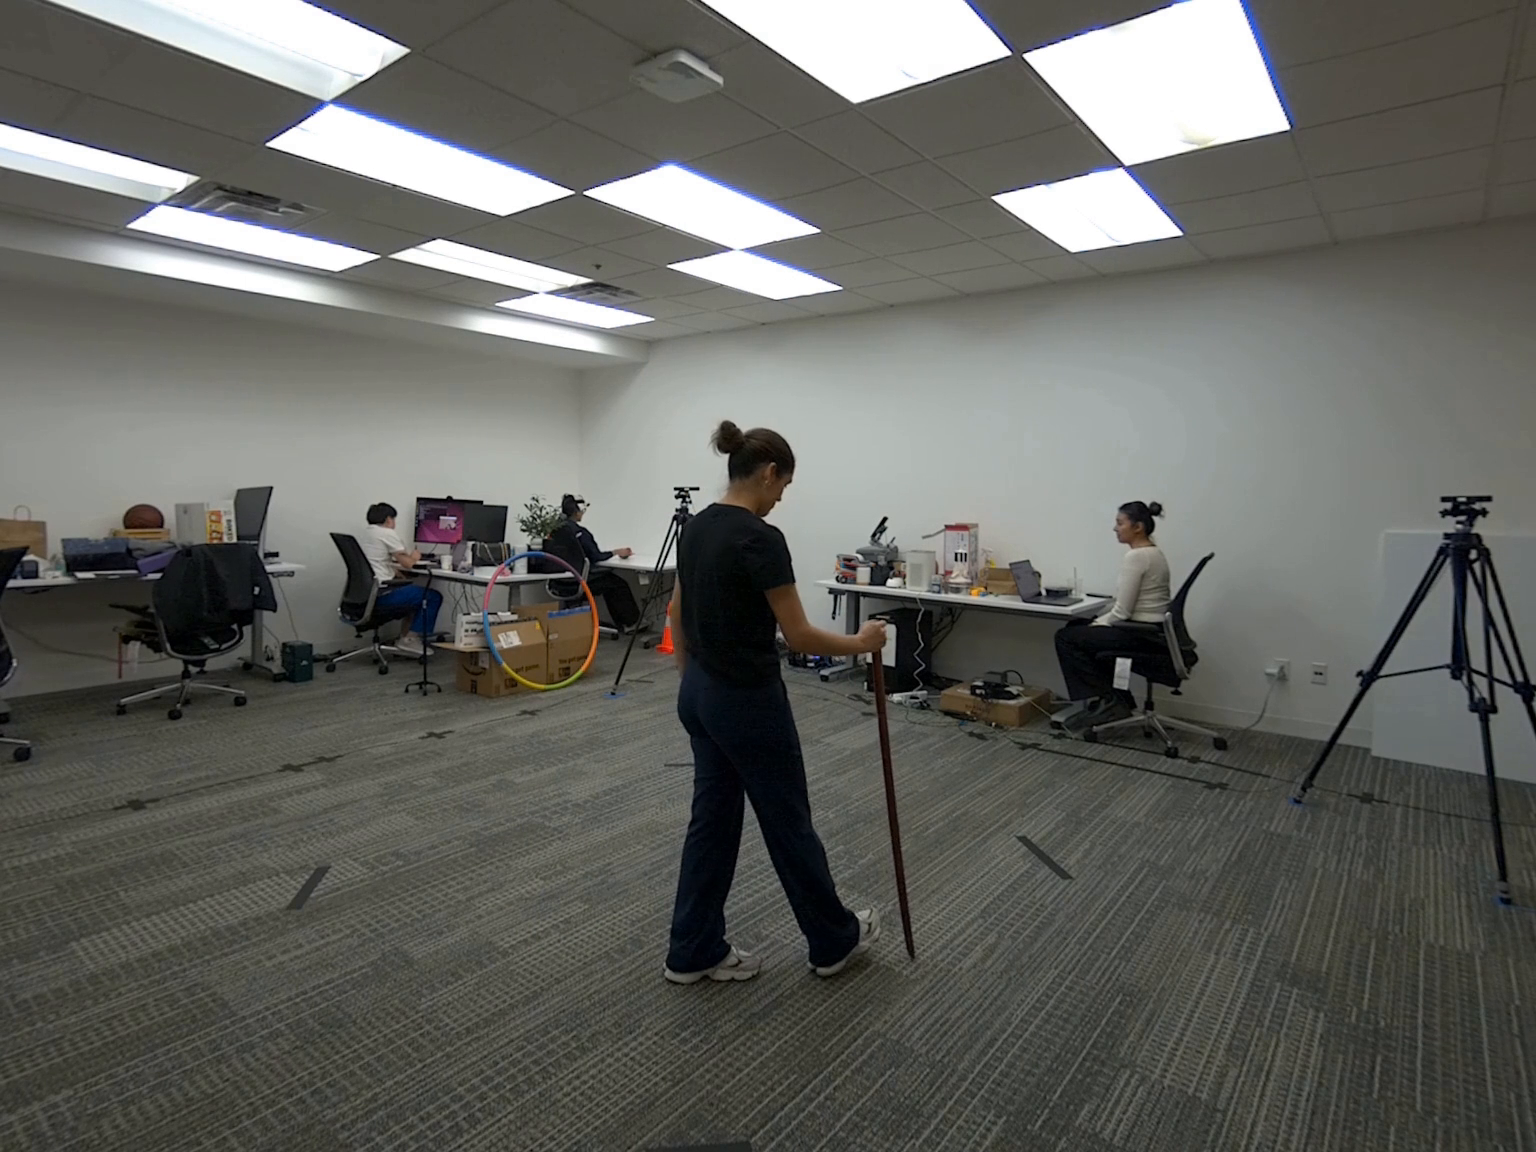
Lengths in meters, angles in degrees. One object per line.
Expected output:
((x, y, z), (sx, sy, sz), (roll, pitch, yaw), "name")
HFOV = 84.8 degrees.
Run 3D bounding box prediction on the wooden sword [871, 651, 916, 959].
((0.367, 0.634, 2.479), (0.023, 1.019, 0.052), (-10, 5, -25), "wooden sword")
